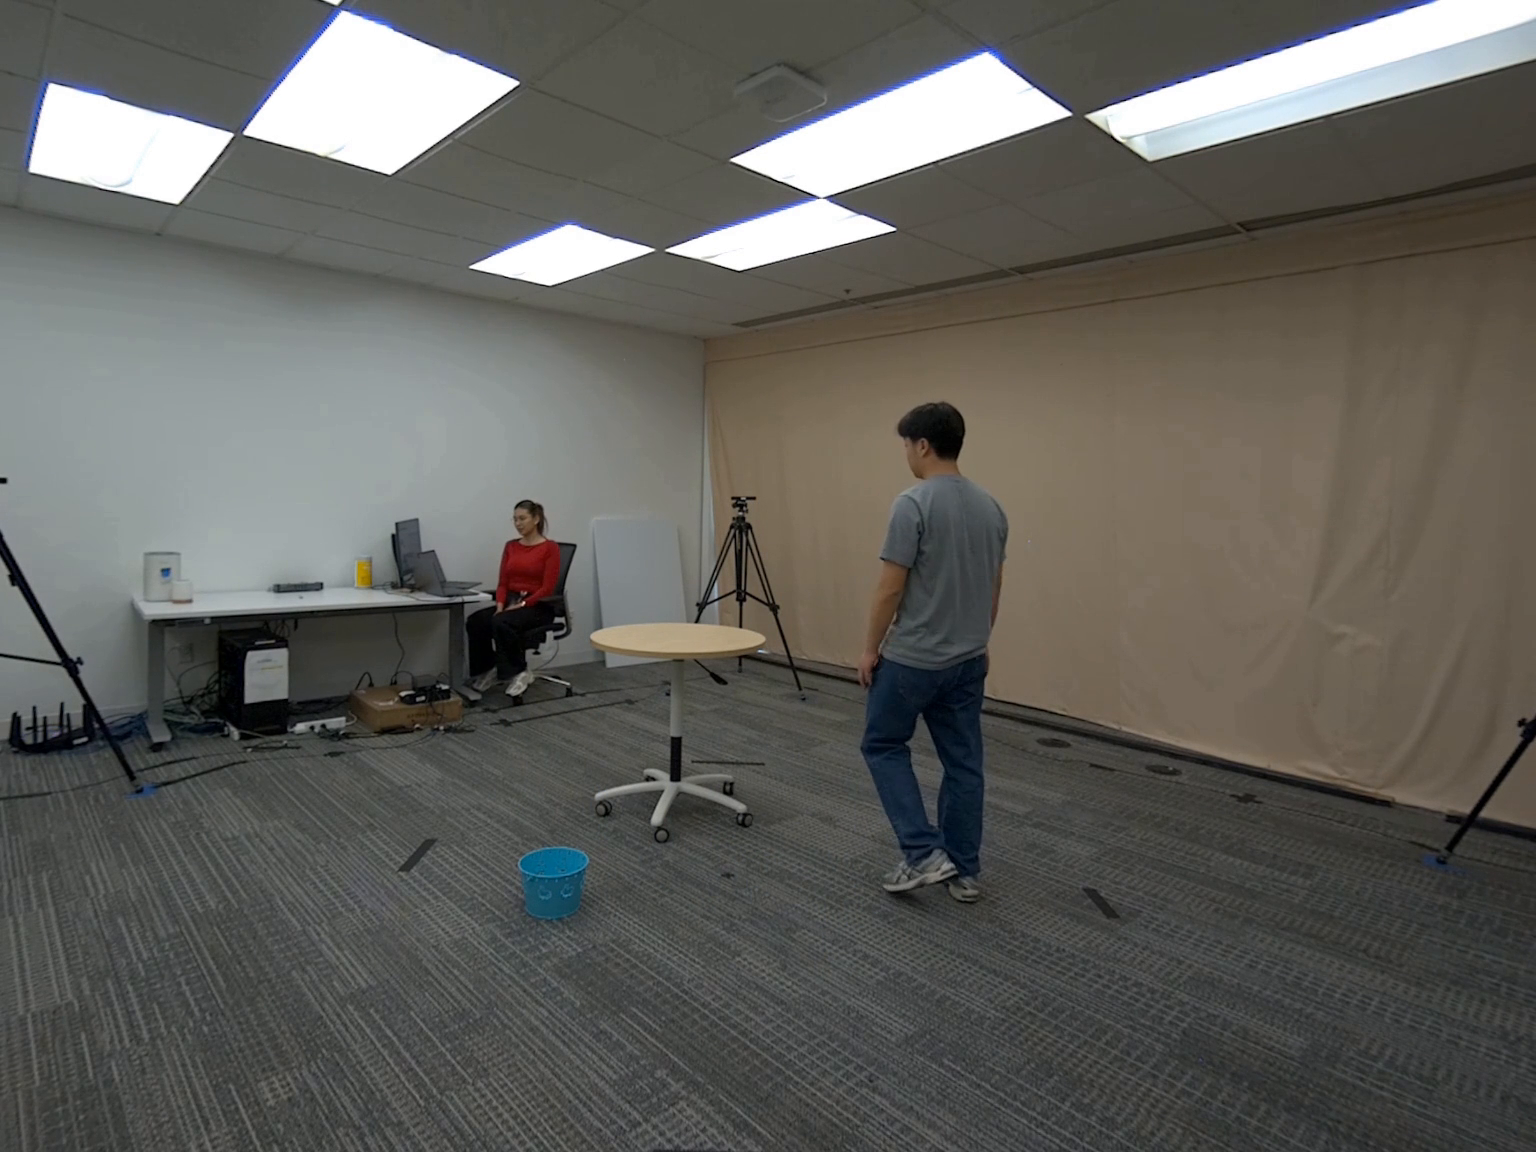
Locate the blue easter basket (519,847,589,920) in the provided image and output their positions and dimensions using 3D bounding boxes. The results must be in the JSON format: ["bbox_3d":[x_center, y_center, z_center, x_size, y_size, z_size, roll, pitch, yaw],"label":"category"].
[{"bbox_3d":[-0.737,1.040,2.848,0.243,0.155,0.245,2,6,-2],"label":"blue easter basket"}]
